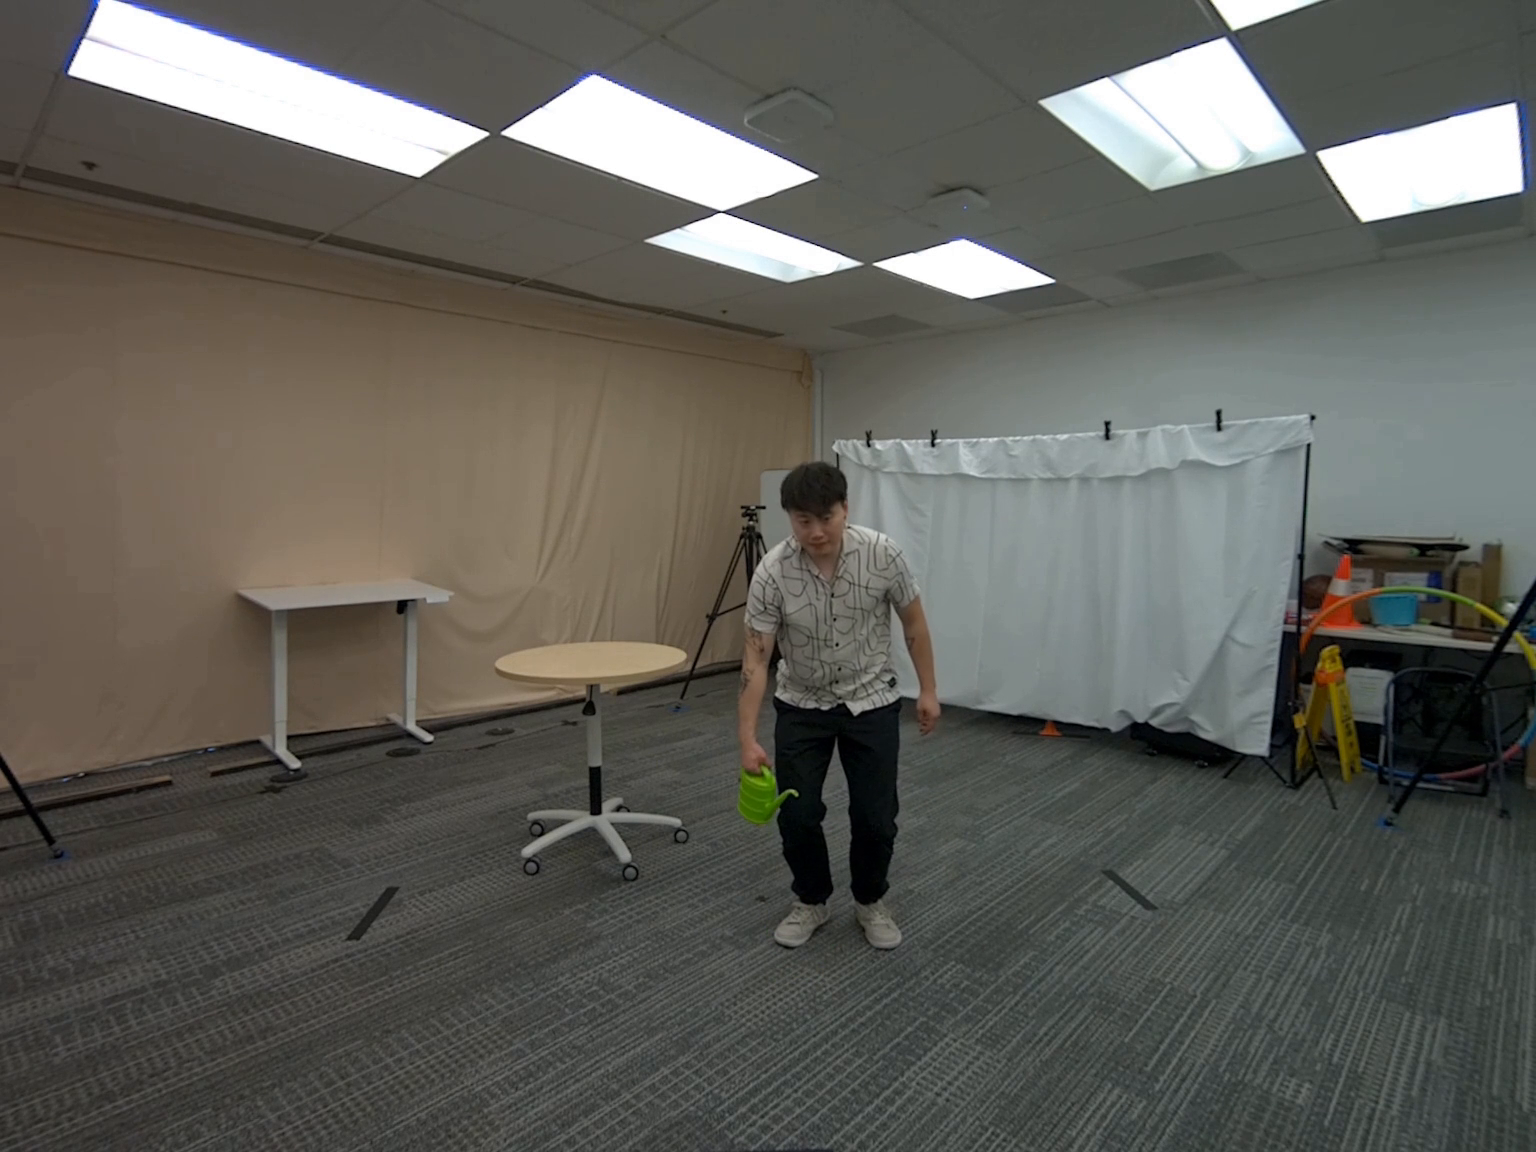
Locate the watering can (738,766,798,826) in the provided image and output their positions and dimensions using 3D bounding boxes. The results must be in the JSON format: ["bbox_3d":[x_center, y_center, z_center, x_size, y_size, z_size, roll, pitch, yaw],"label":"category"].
[{"bbox_3d":[0.002,0.666,2.536,0.095,0.176,0.287,3,10,-26],"label":"watering can"}]
